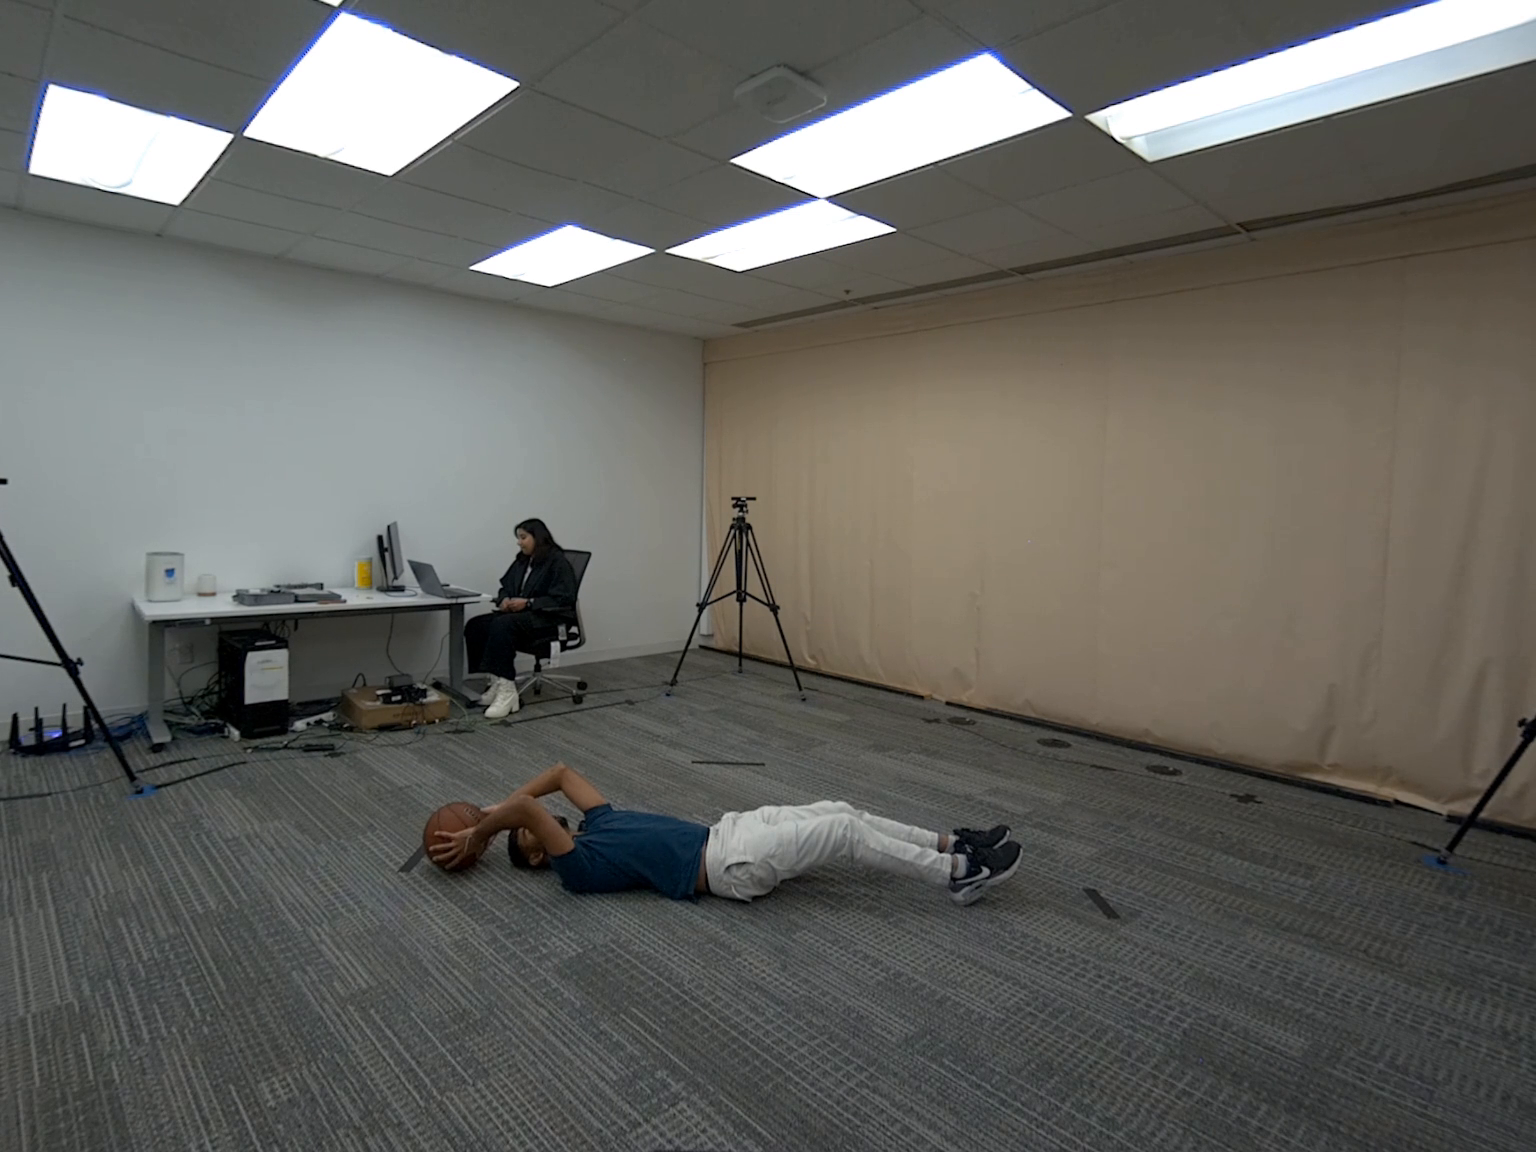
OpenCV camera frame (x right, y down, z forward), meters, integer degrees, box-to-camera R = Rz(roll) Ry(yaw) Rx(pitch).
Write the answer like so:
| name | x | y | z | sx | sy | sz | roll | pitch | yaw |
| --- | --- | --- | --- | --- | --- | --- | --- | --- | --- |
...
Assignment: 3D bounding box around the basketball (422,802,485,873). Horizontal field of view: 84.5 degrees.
| name | x | y | z | sx | sy | sz | roll | pitch | yaw |
| --- | --- | --- | --- | --- | --- | --- | --- | --- | --- |
| basketball | -1.168 | 0.968 | 3.118 | 0.236 | 0.235 | 0.237 | 1 | 4 | -1 |
